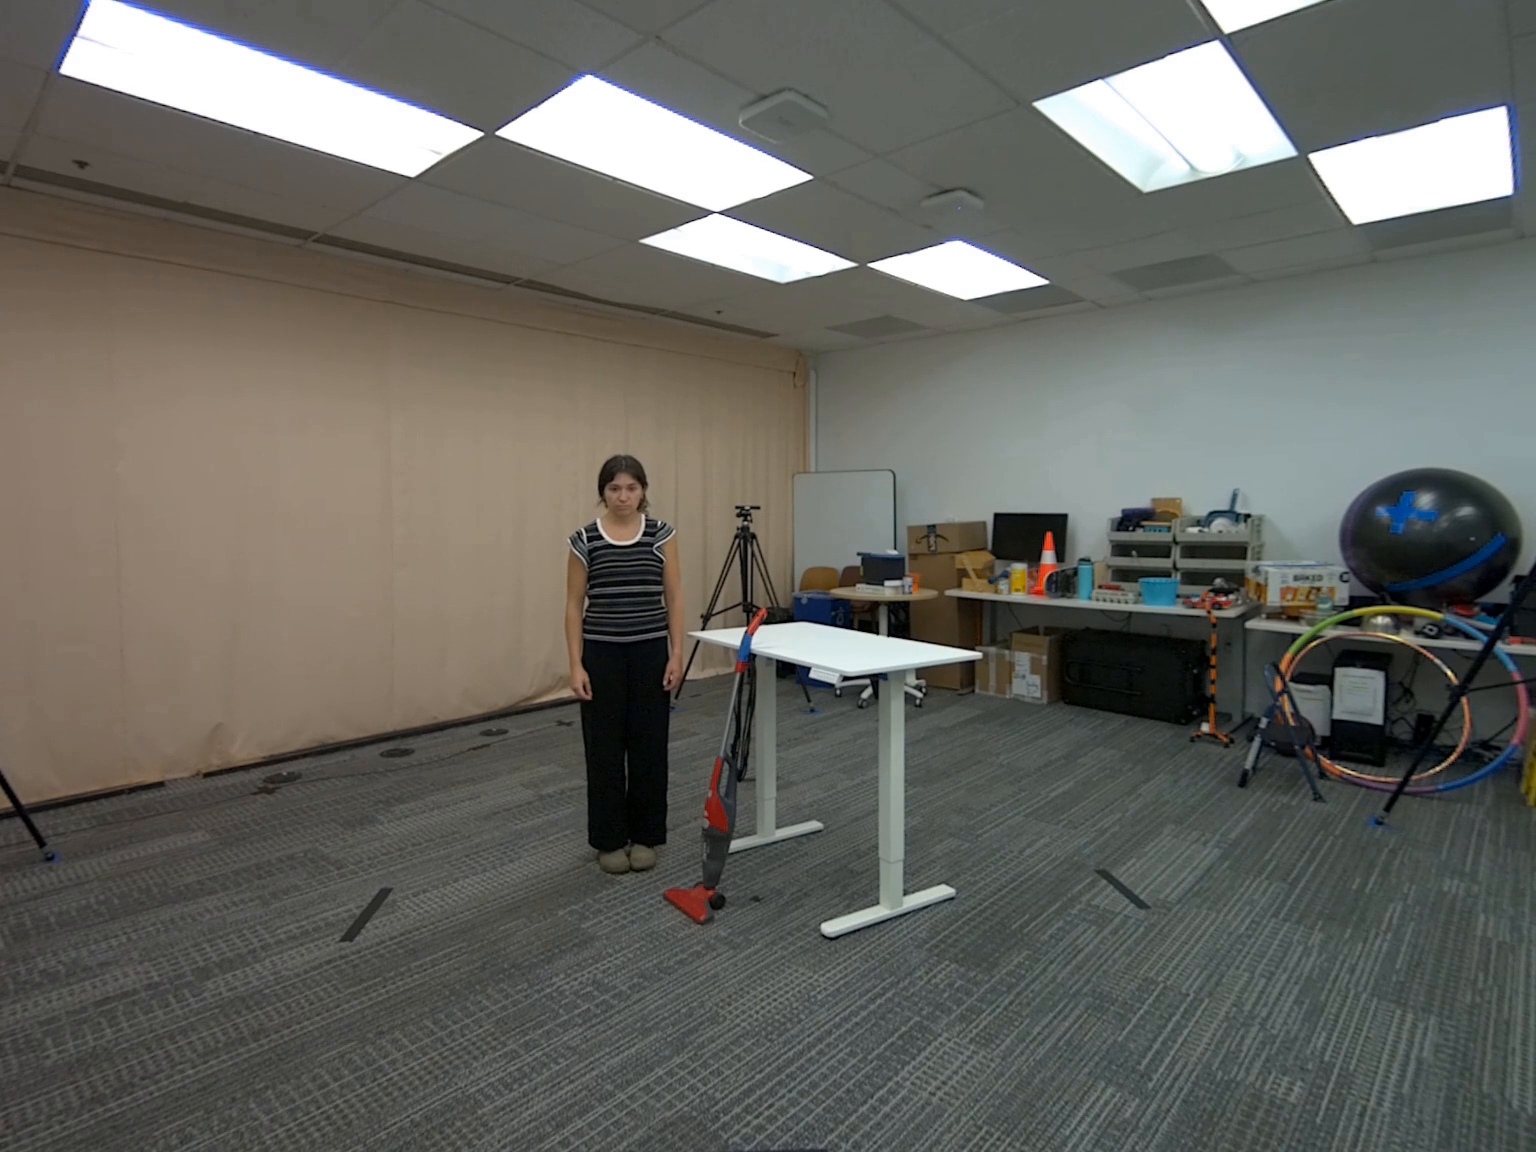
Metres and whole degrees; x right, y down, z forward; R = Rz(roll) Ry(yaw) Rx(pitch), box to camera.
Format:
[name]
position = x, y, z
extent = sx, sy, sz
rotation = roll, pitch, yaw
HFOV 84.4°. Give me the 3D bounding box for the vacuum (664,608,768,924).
[vacuum]
position = -0.132, 0.643, 2.989
extent = 0.139, 1.051, 0.261
rotation = 17, -7, -37
